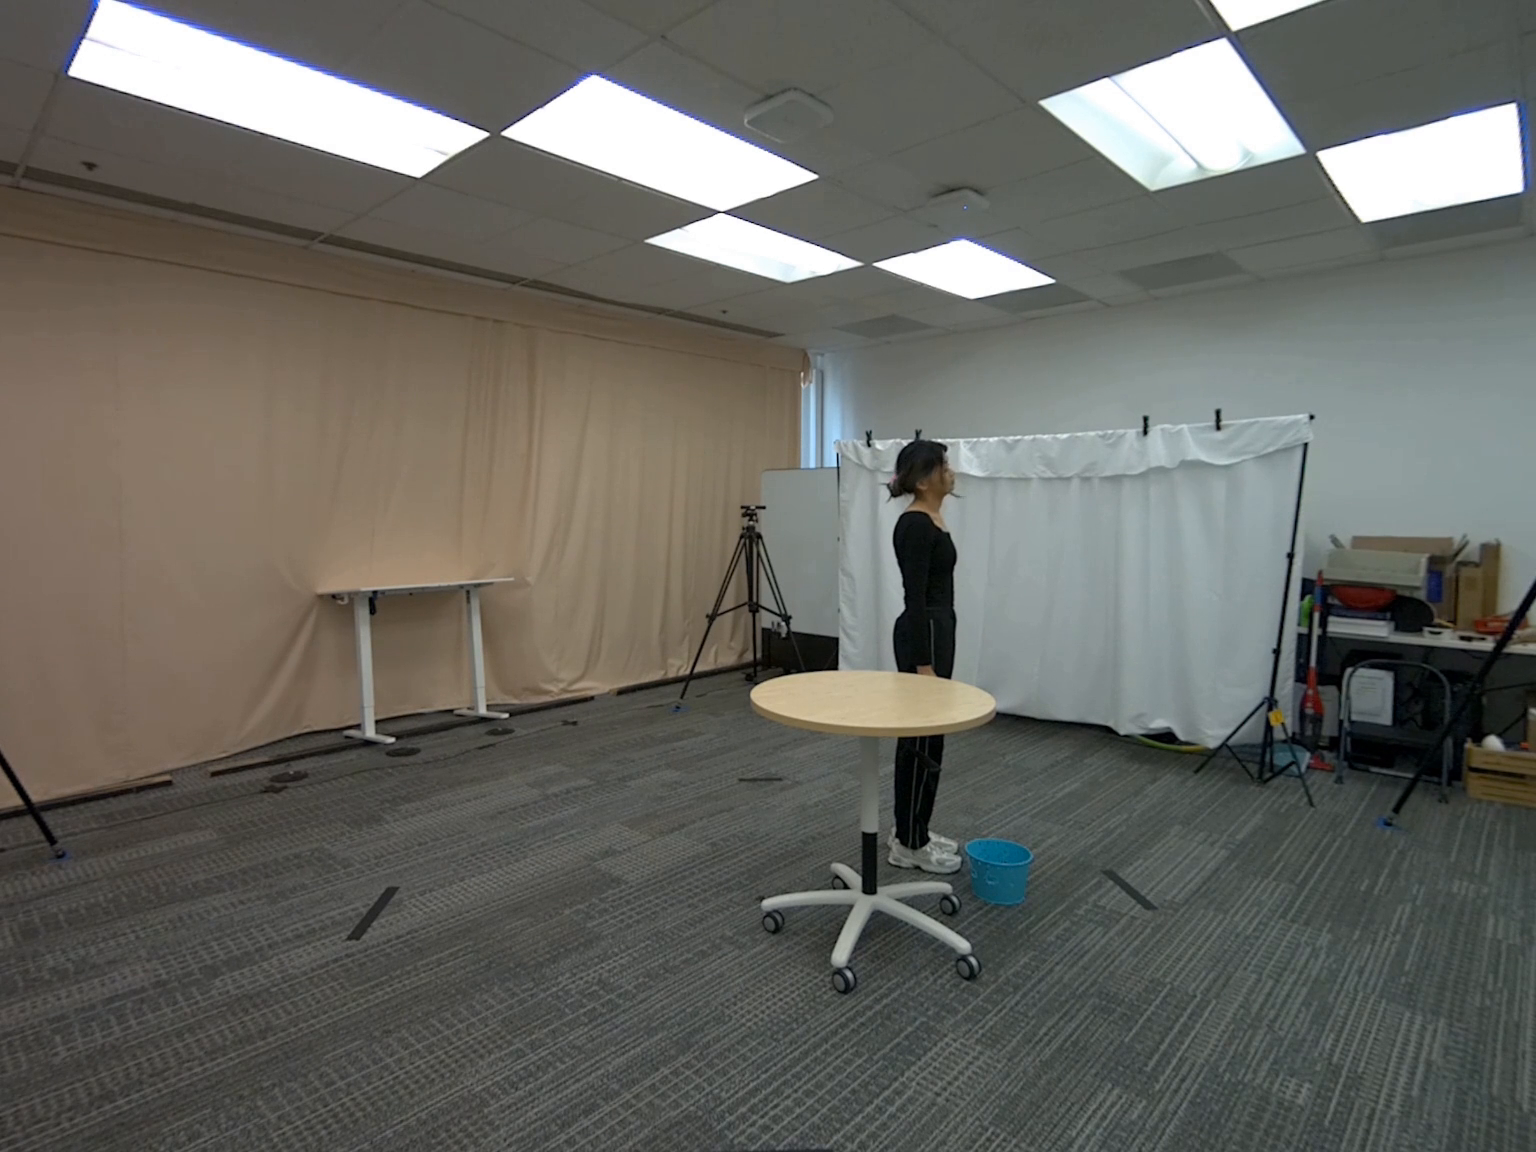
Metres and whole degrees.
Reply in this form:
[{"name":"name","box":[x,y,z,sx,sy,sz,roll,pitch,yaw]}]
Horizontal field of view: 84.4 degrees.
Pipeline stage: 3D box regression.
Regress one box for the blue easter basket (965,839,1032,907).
[{"name":"blue easter basket","box":[0.832,1.059,3.023,0.243,0.155,0.244,0,4,-2]}]
